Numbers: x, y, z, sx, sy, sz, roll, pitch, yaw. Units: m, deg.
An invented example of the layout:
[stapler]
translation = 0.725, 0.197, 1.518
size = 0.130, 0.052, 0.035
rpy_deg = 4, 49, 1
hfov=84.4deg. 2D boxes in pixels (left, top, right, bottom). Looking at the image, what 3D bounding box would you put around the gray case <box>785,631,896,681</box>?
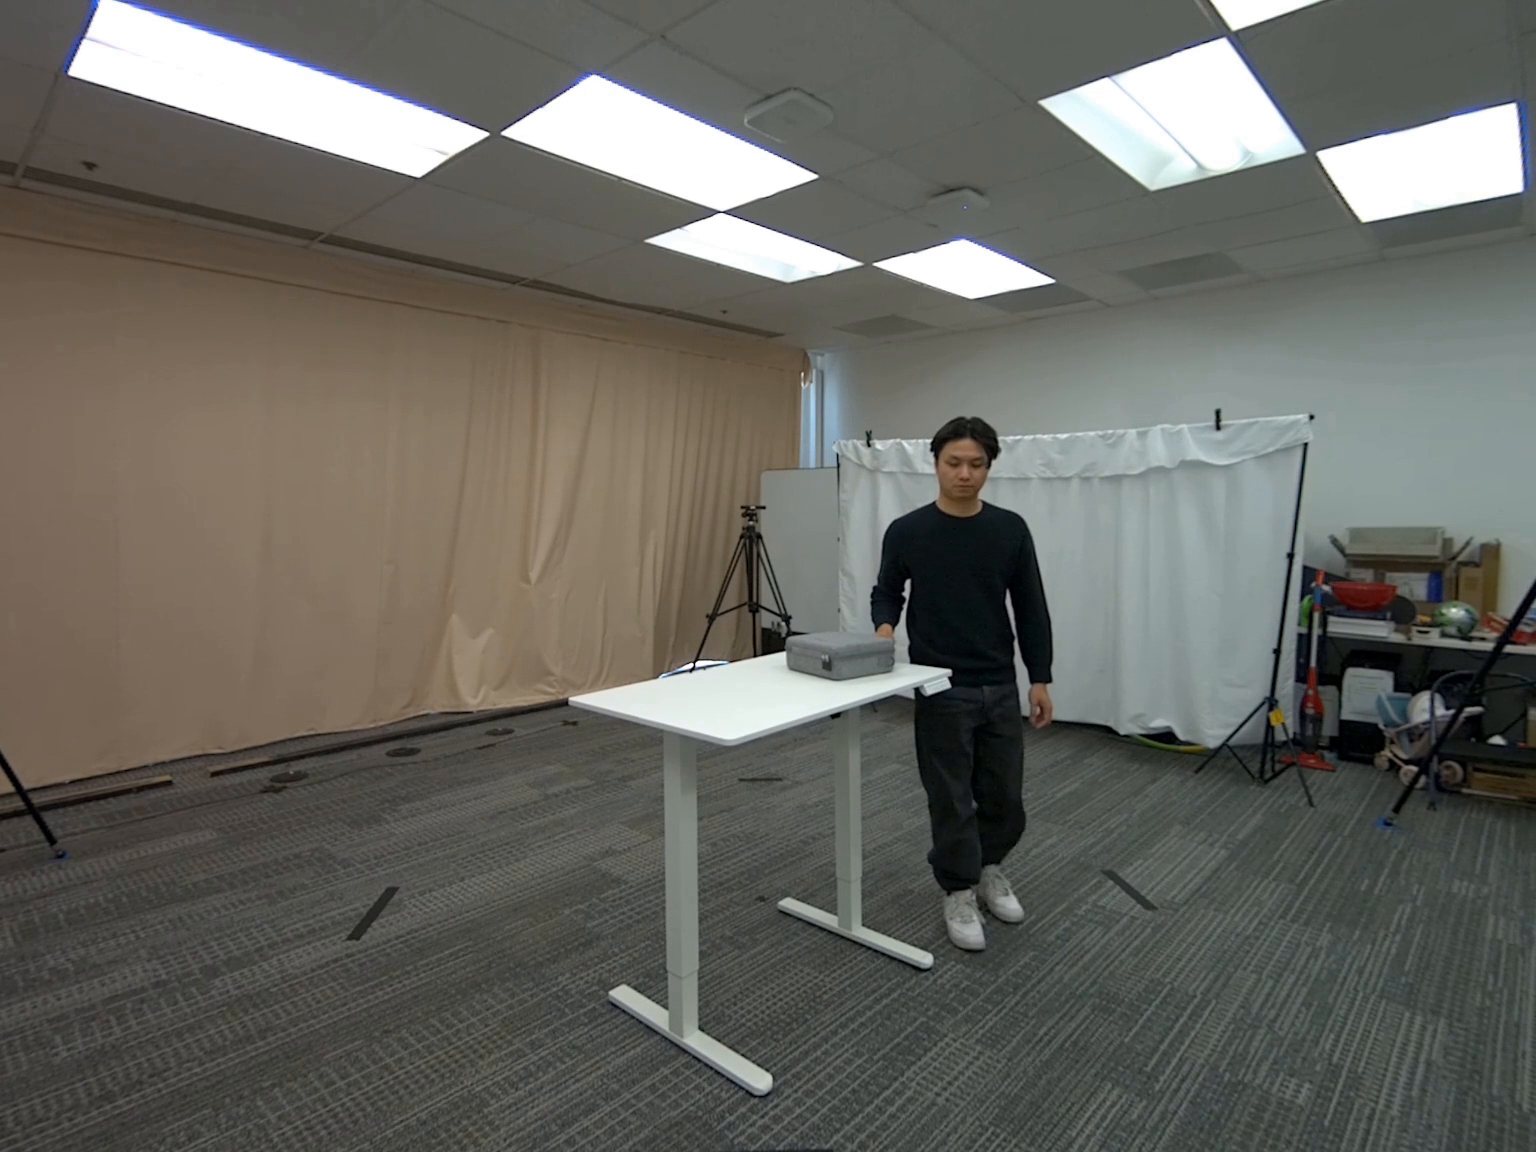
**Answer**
[gray case]
translation = 0.215, 0.238, 2.584
size = 0.253, 0.104, 0.265
rpy_deg = -3, 5, -36
